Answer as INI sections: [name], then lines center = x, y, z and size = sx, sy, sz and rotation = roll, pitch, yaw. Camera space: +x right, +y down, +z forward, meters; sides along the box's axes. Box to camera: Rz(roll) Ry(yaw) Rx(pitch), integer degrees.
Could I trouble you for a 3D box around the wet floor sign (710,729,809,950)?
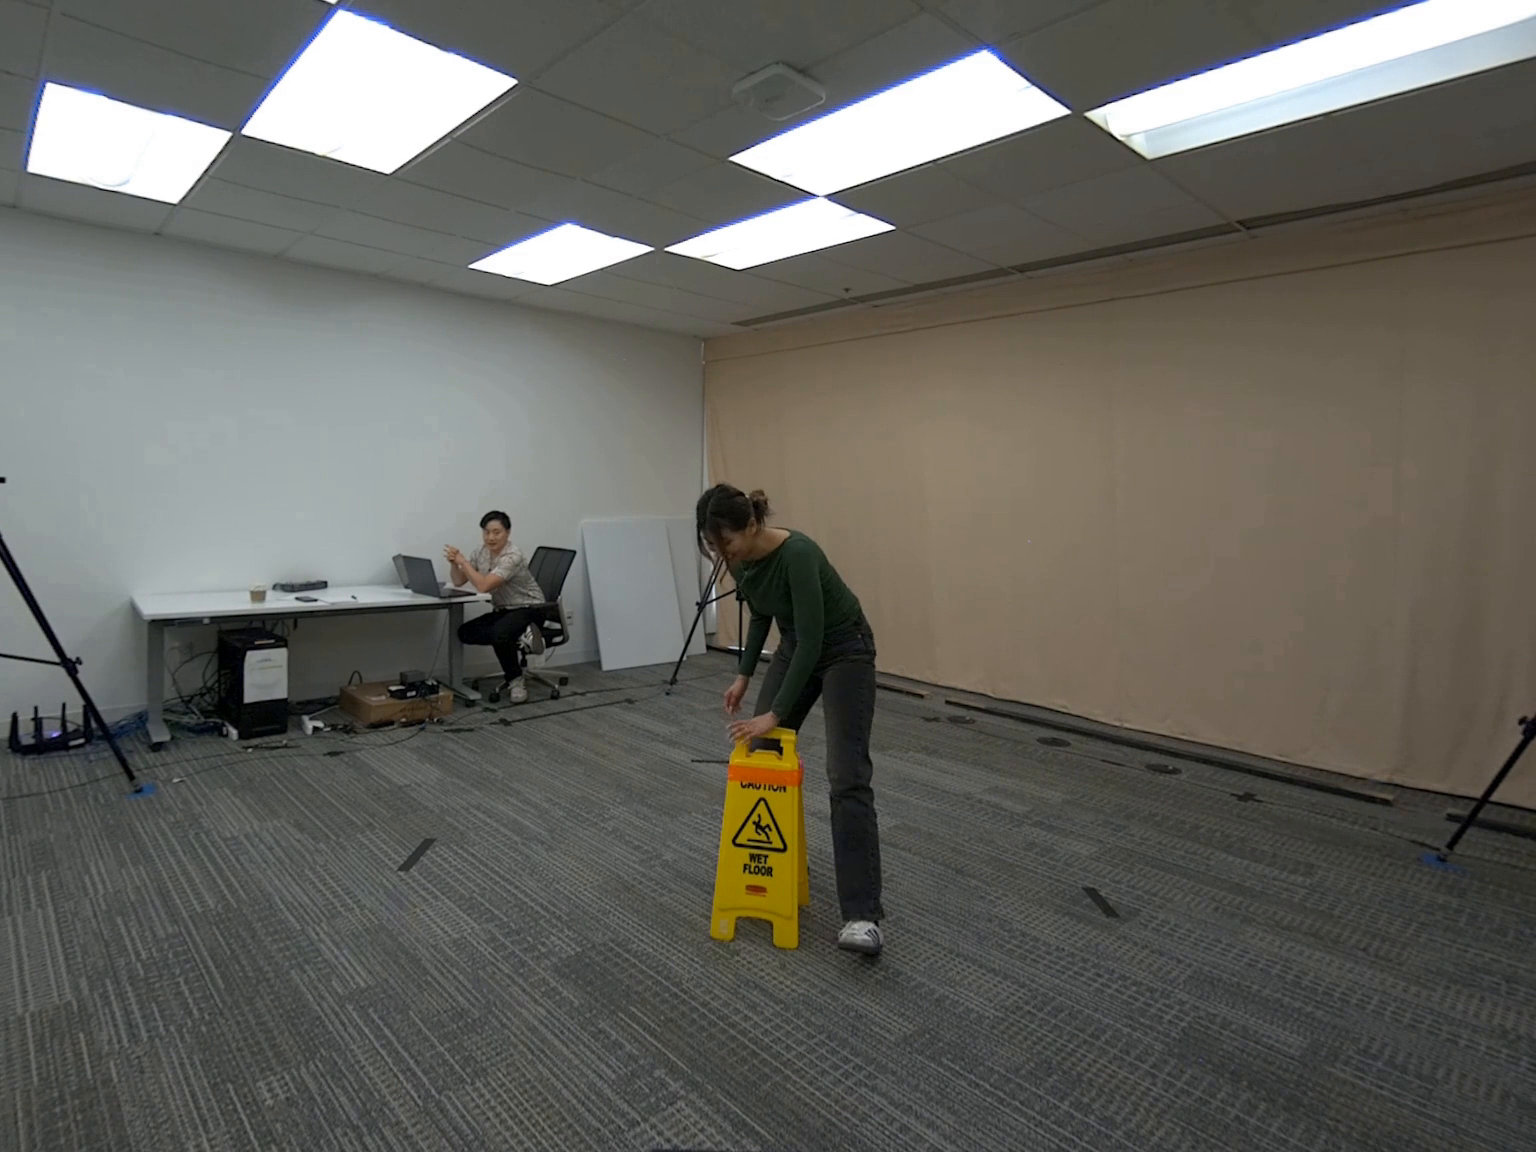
[wet floor sign]
center = -0.019, 0.815, 2.756
size = 0.285, 0.644, 0.288
rotation = 3, 4, 10
